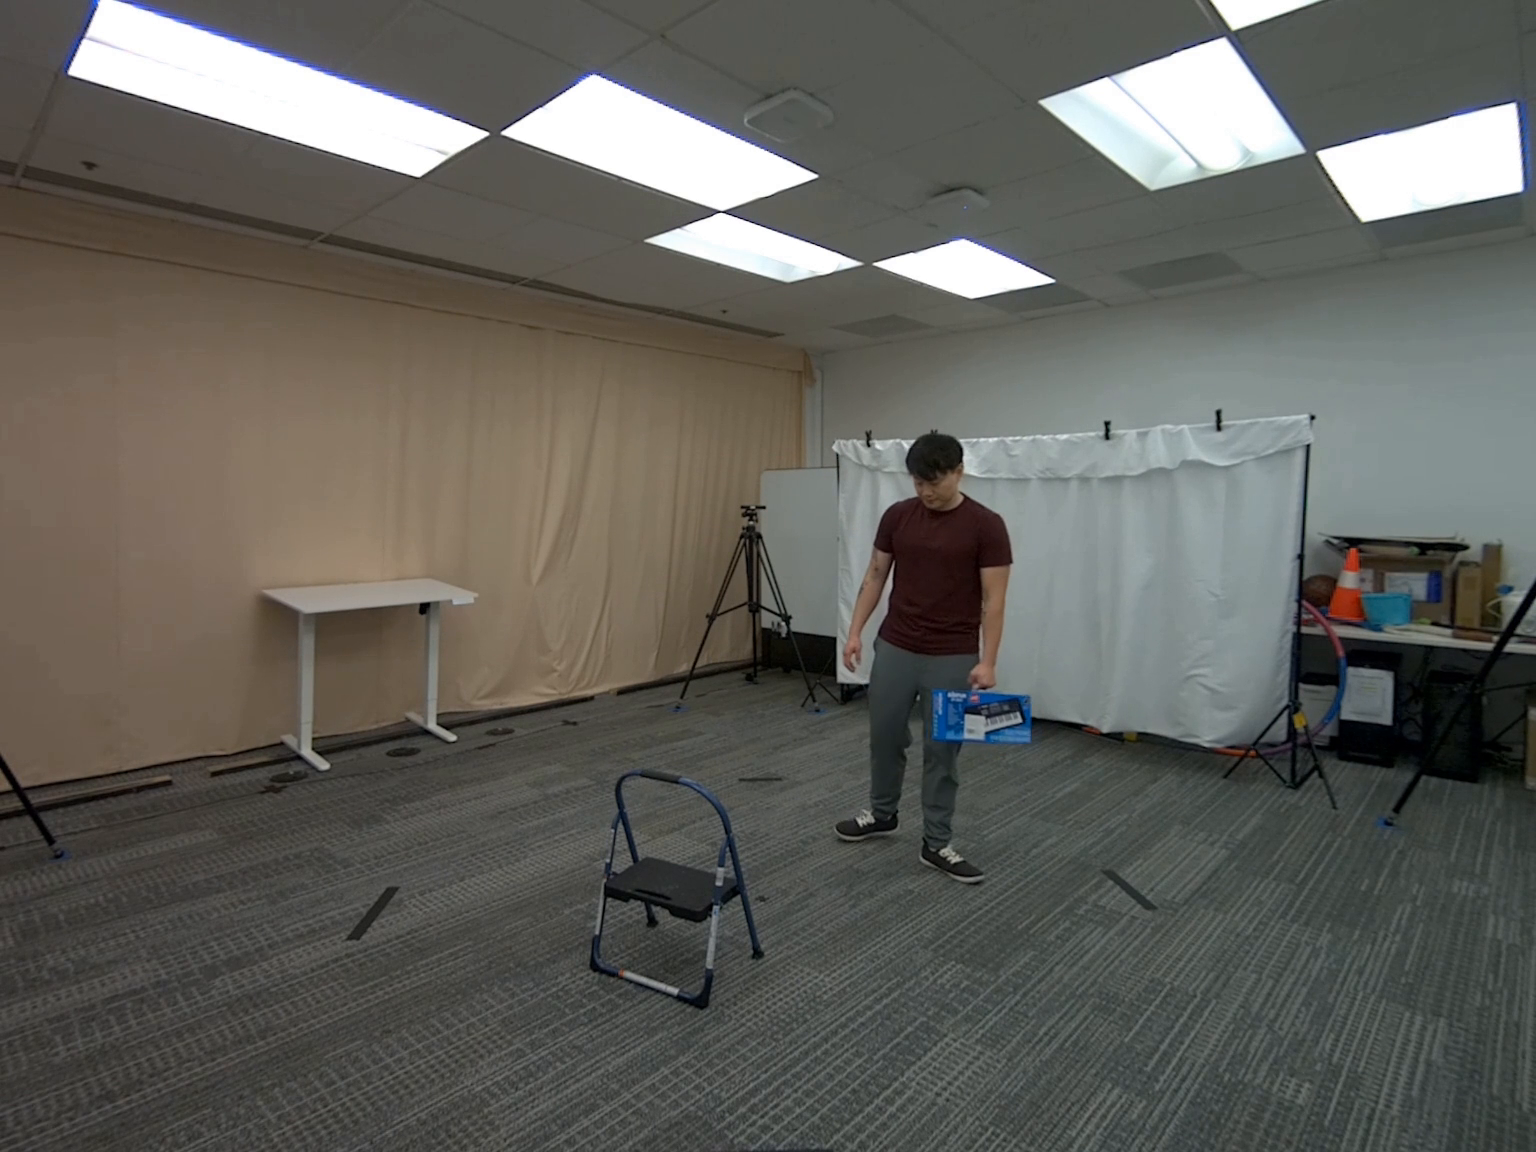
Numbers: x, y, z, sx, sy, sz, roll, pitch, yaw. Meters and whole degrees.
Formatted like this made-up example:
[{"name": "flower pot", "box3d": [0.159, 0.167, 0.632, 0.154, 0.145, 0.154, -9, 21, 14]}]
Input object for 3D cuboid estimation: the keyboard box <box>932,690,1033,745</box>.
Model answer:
[{"name": "keyboard box", "box3d": [0.767, 0.502, 3.003, 0.424, 0.177, 0.060, 8, -10, -30]}]
